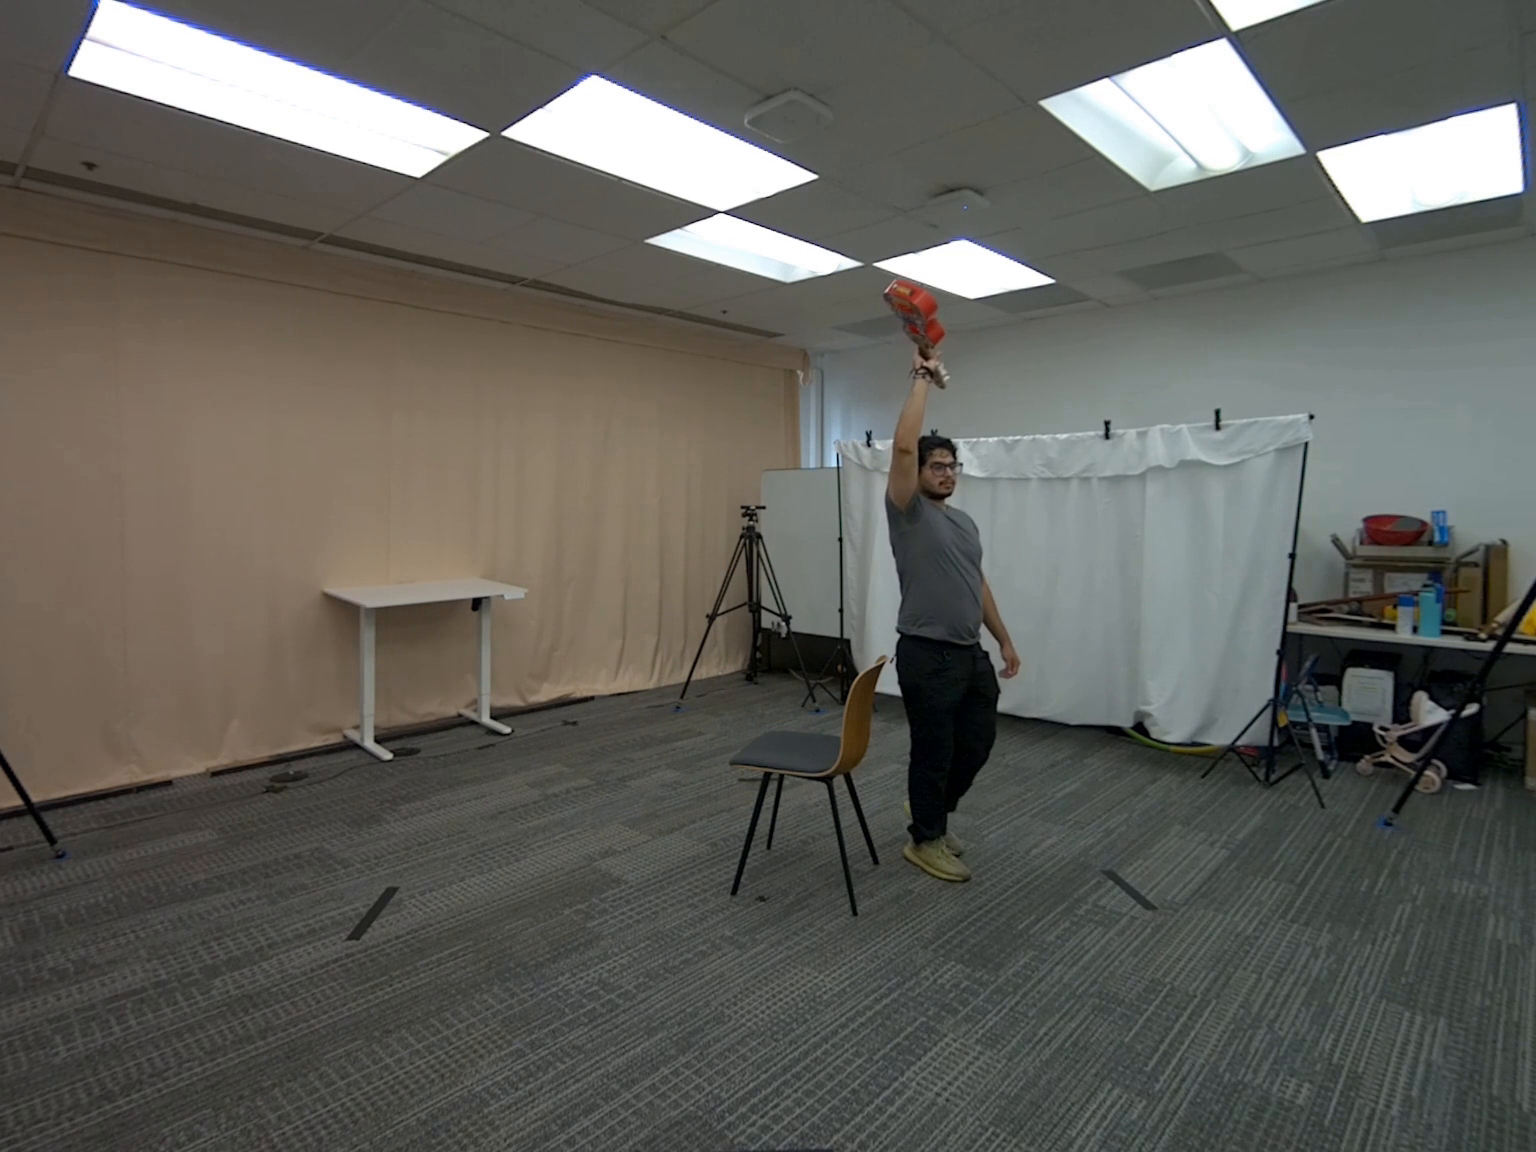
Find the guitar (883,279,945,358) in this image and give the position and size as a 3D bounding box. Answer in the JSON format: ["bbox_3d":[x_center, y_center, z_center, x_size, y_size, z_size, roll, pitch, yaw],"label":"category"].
[{"bbox_3d":[0.542,-0.846,2.968,0.199,0.070,0.482,41,-3,31],"label":"guitar"}]
